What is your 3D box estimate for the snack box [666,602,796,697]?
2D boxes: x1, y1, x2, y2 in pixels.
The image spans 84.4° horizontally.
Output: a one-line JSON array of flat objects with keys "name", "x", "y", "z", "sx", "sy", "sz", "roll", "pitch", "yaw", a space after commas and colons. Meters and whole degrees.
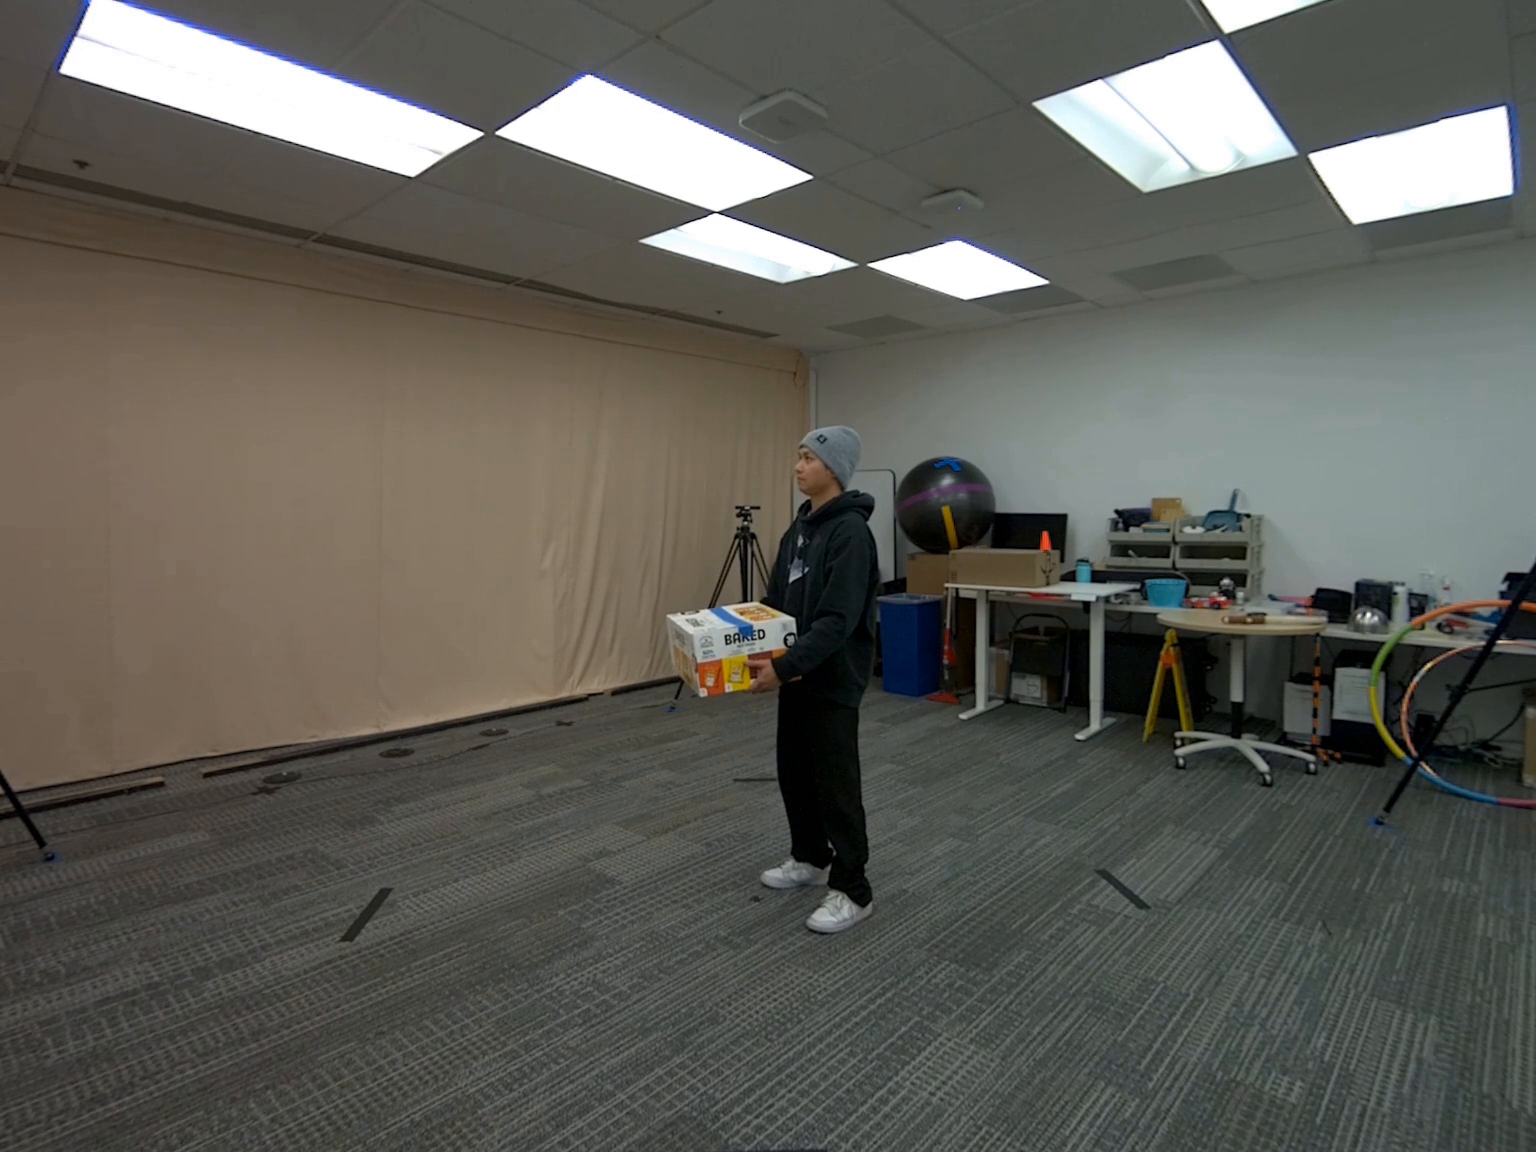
[{"name": "snack box", "x": -0.136, "y": 0.225, "z": 2.843, "sx": 0.335, "sy": 0.205, "sz": 0.413, "roll": -6, "pitch": 7, "yaw": -15}]
